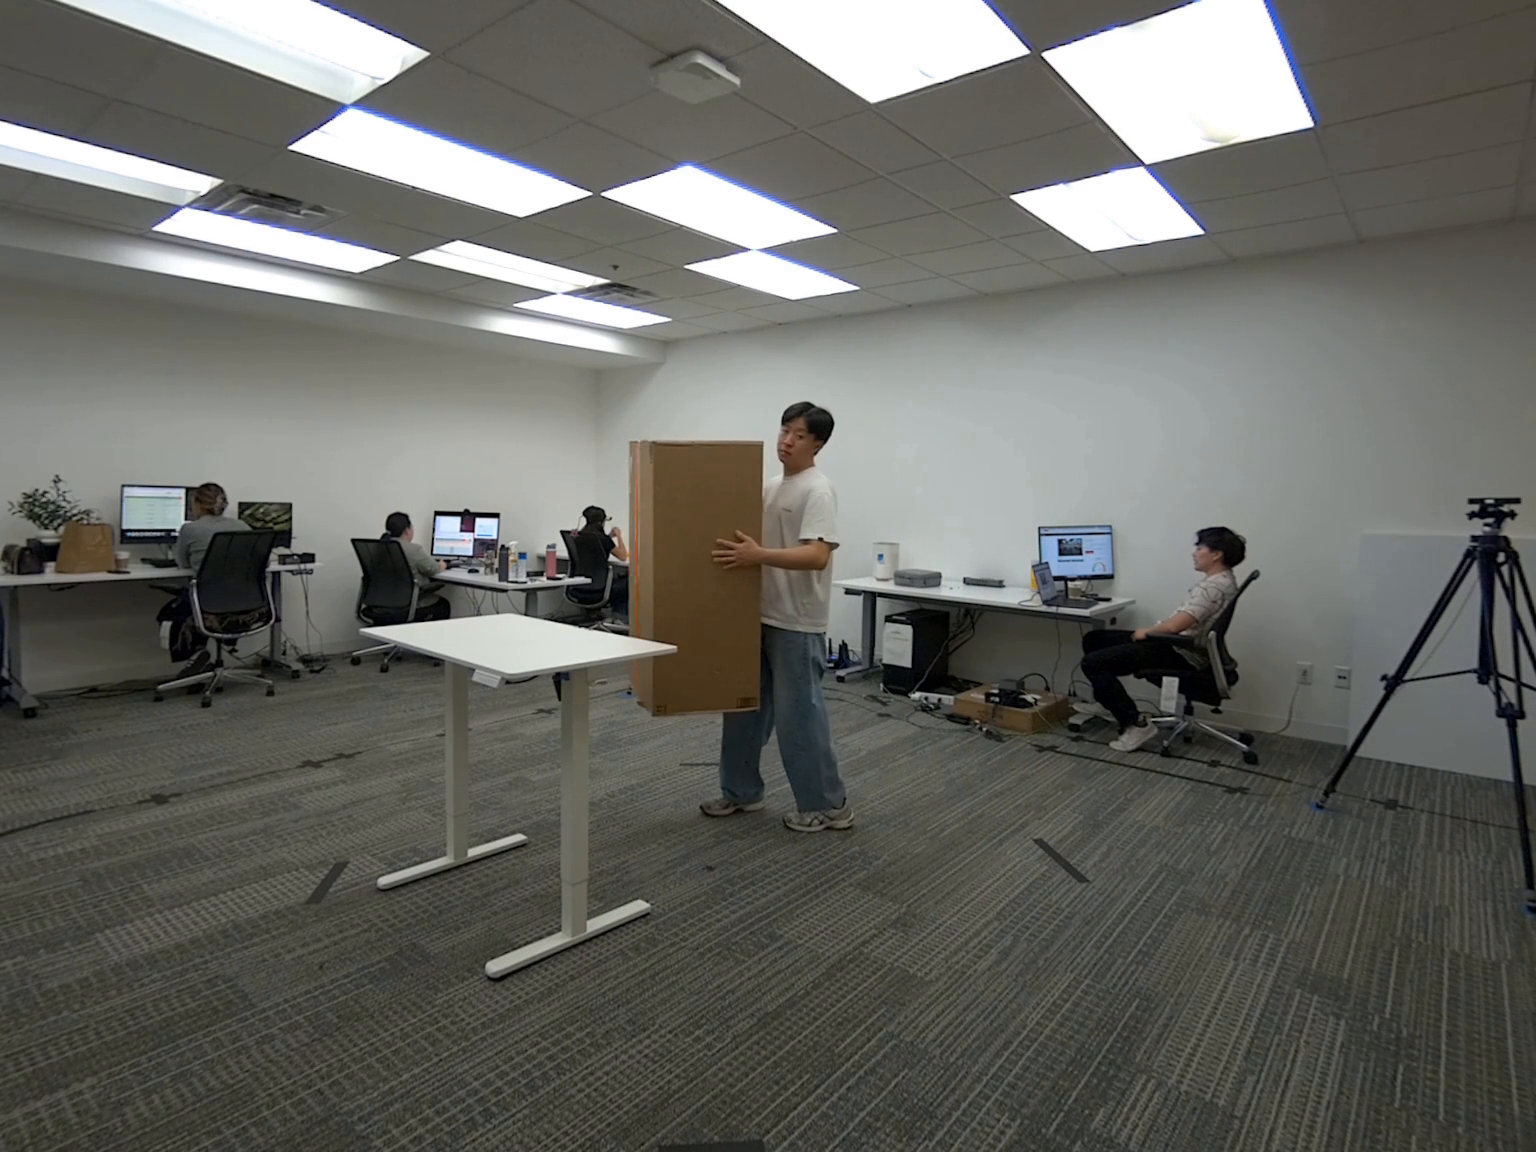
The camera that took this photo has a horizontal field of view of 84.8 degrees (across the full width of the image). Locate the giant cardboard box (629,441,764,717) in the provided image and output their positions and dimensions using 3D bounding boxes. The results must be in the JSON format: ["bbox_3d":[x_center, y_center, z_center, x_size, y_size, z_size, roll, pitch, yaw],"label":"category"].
[{"bbox_3d":[-0.314,-0.031,3.418,0.419,1.020,0.590,-1,6,-16],"label":"giant cardboard box"}]
